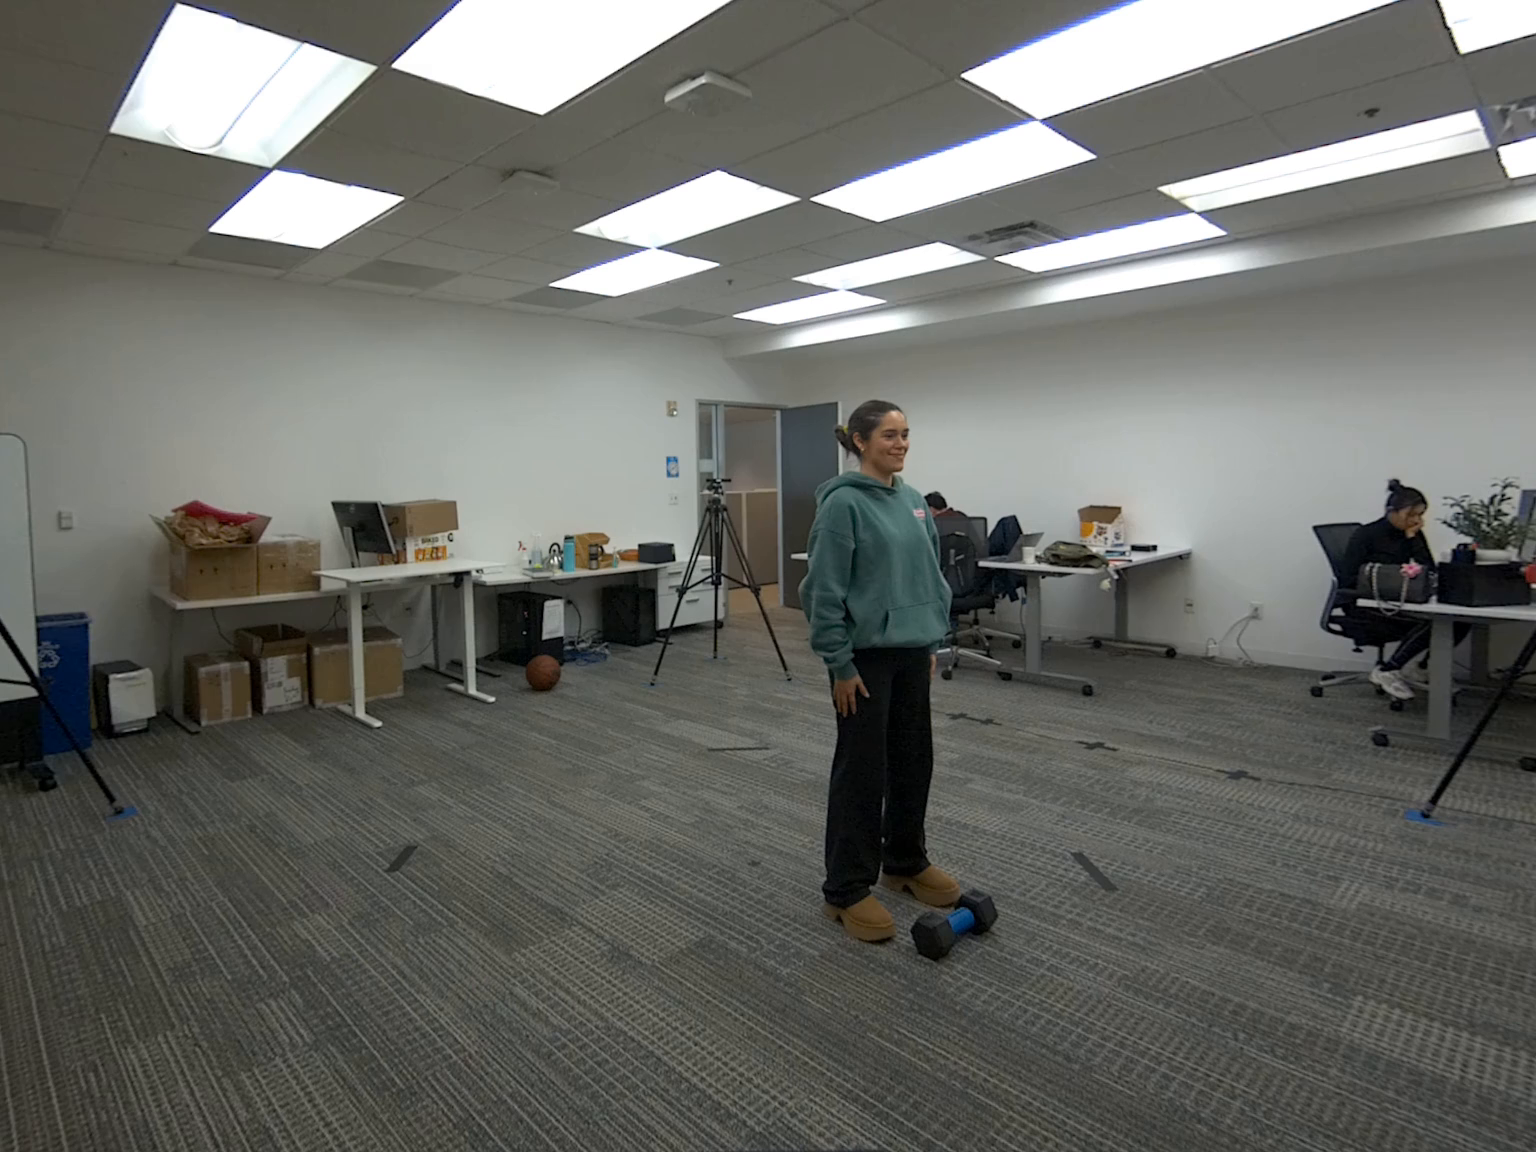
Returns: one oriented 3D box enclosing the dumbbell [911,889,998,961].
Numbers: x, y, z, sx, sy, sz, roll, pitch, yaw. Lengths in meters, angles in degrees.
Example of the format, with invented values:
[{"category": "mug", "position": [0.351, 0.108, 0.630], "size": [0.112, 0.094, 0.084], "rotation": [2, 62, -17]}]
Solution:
[{"category": "dumbbell", "position": [0.565, 1.043, 2.561], "size": [0.286, 0.121, 0.113], "rotation": [-5, 40, -40]}]
